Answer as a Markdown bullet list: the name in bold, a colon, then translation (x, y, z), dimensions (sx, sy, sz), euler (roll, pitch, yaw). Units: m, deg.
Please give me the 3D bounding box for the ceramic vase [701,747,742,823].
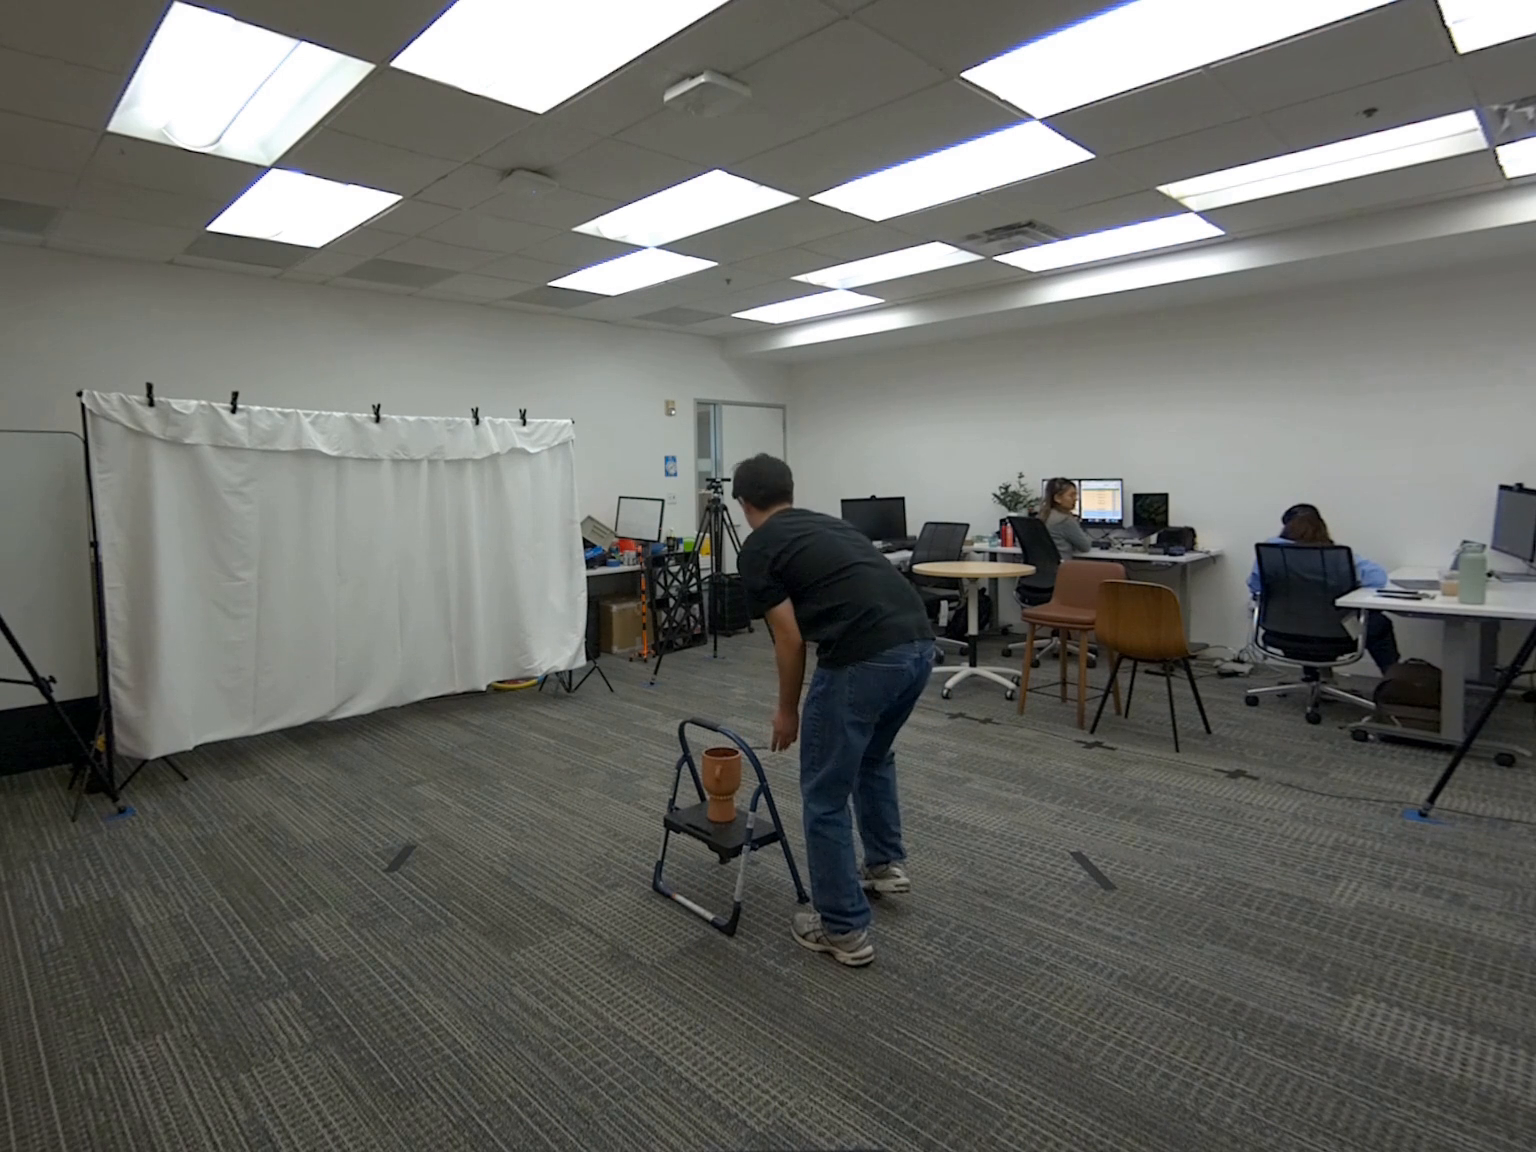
- **ceramic vase**: translation (-0.154, 0.705, 2.868), dimensions (0.139, 0.219, 0.154), euler (3, 5, 42)
